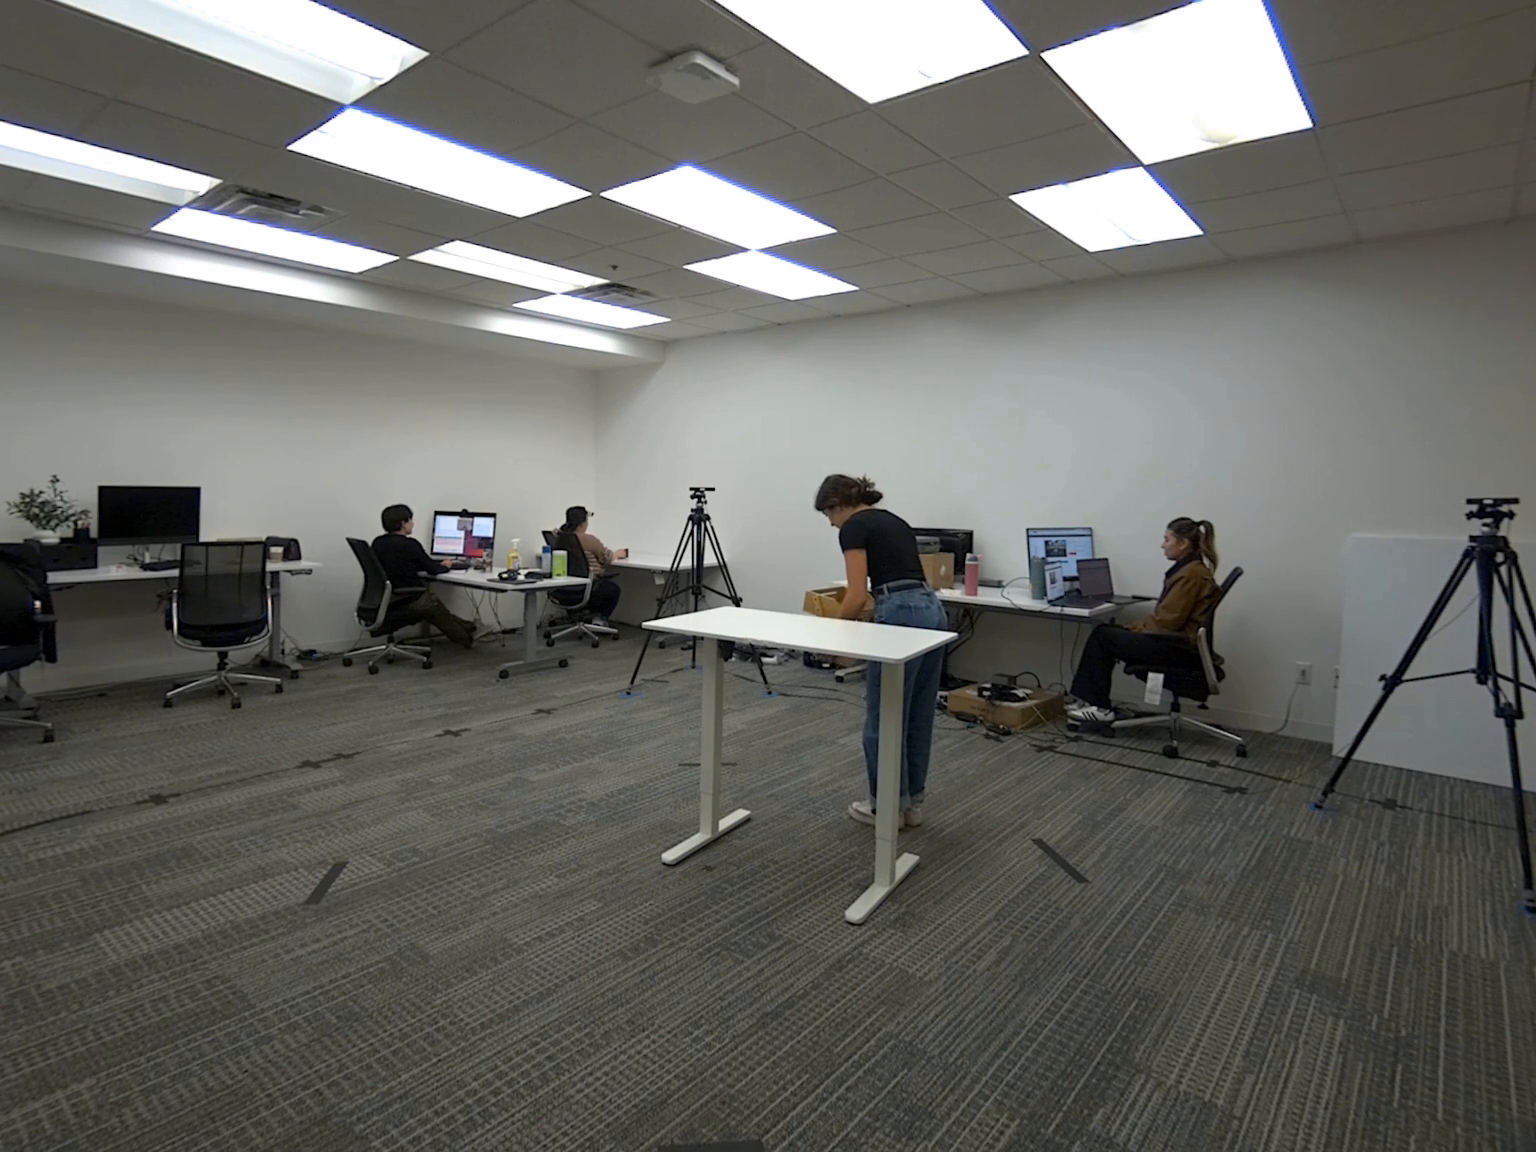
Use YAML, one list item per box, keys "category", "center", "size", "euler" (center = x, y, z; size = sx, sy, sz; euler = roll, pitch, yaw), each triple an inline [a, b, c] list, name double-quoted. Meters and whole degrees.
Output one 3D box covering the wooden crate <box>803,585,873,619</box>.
- category: "wooden crate"
  center: [0.347, 0.210, 3.724]
  size: [0.313, 0.271, 0.315]
  euler: [16, 12, 36]
